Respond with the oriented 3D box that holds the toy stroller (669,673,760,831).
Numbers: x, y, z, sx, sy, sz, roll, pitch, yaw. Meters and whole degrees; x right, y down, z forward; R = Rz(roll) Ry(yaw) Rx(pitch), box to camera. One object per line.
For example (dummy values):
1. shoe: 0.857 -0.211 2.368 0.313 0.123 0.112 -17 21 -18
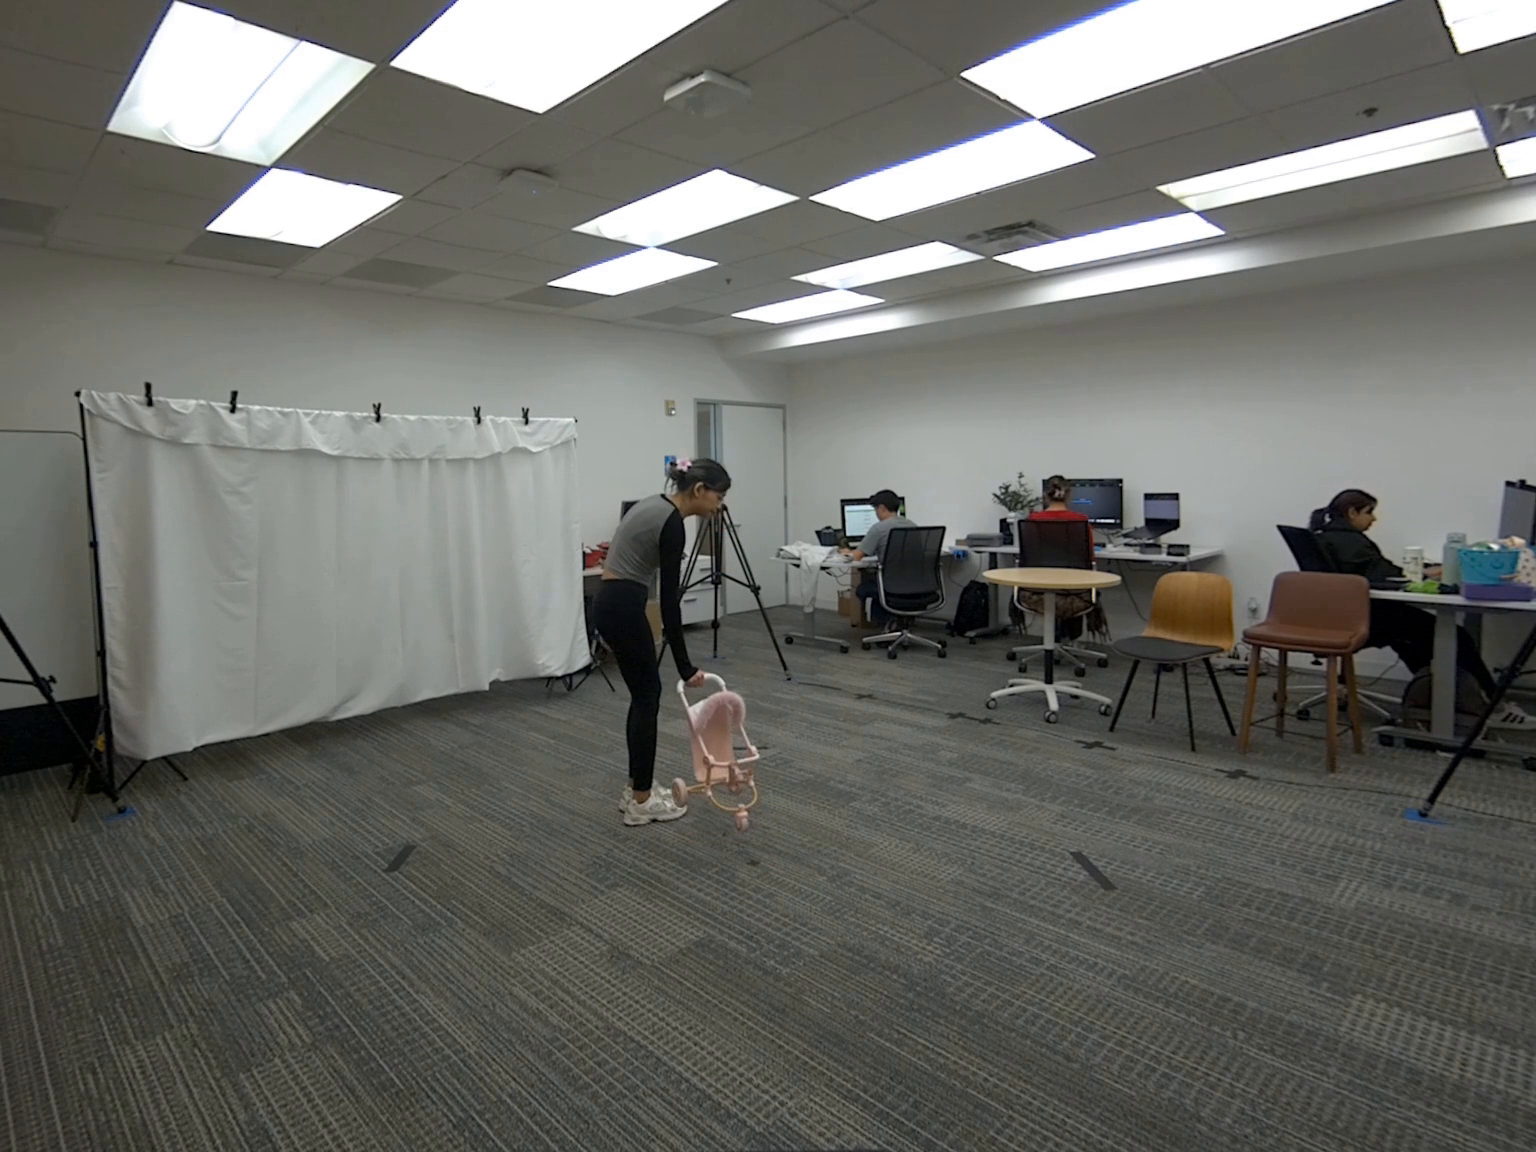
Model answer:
1. toy stroller: -0.180 0.661 3.214 0.275 0.535 0.349 -1 0 -29
